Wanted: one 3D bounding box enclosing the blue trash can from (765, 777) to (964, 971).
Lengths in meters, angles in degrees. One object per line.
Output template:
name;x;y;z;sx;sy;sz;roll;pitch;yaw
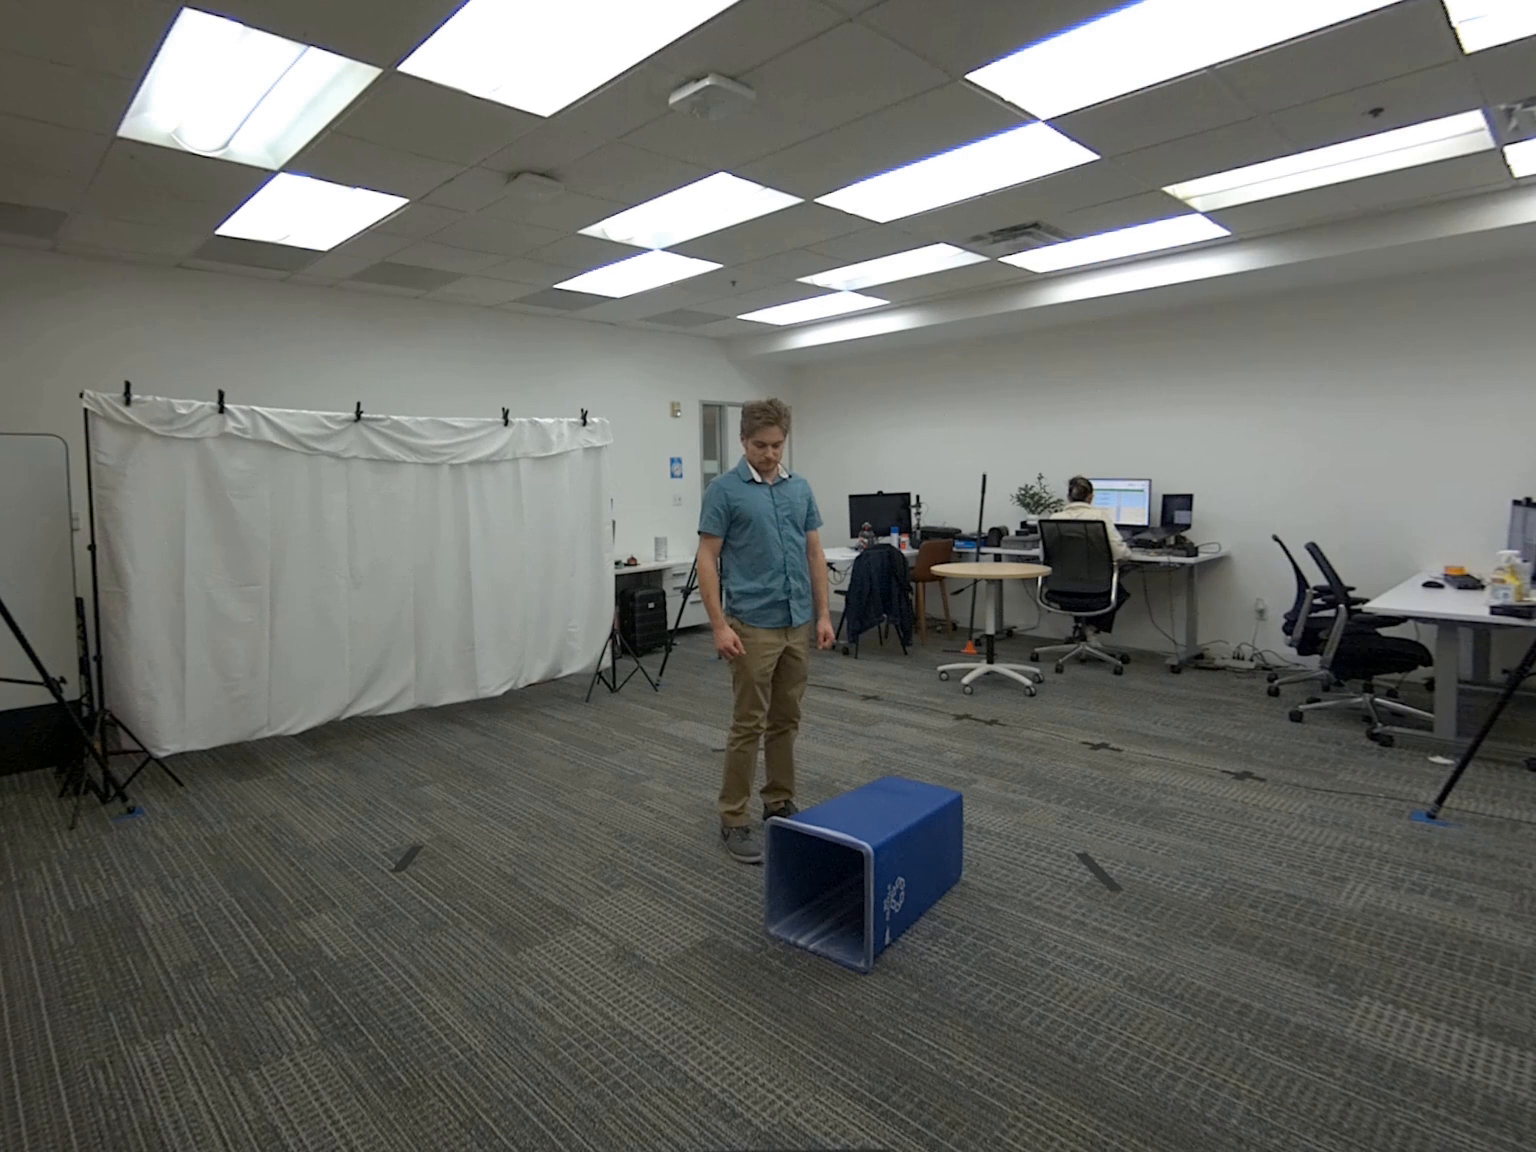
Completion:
blue trash can;0.343;0.915;2.783;0.385;0.377;0.694;2;3;37
